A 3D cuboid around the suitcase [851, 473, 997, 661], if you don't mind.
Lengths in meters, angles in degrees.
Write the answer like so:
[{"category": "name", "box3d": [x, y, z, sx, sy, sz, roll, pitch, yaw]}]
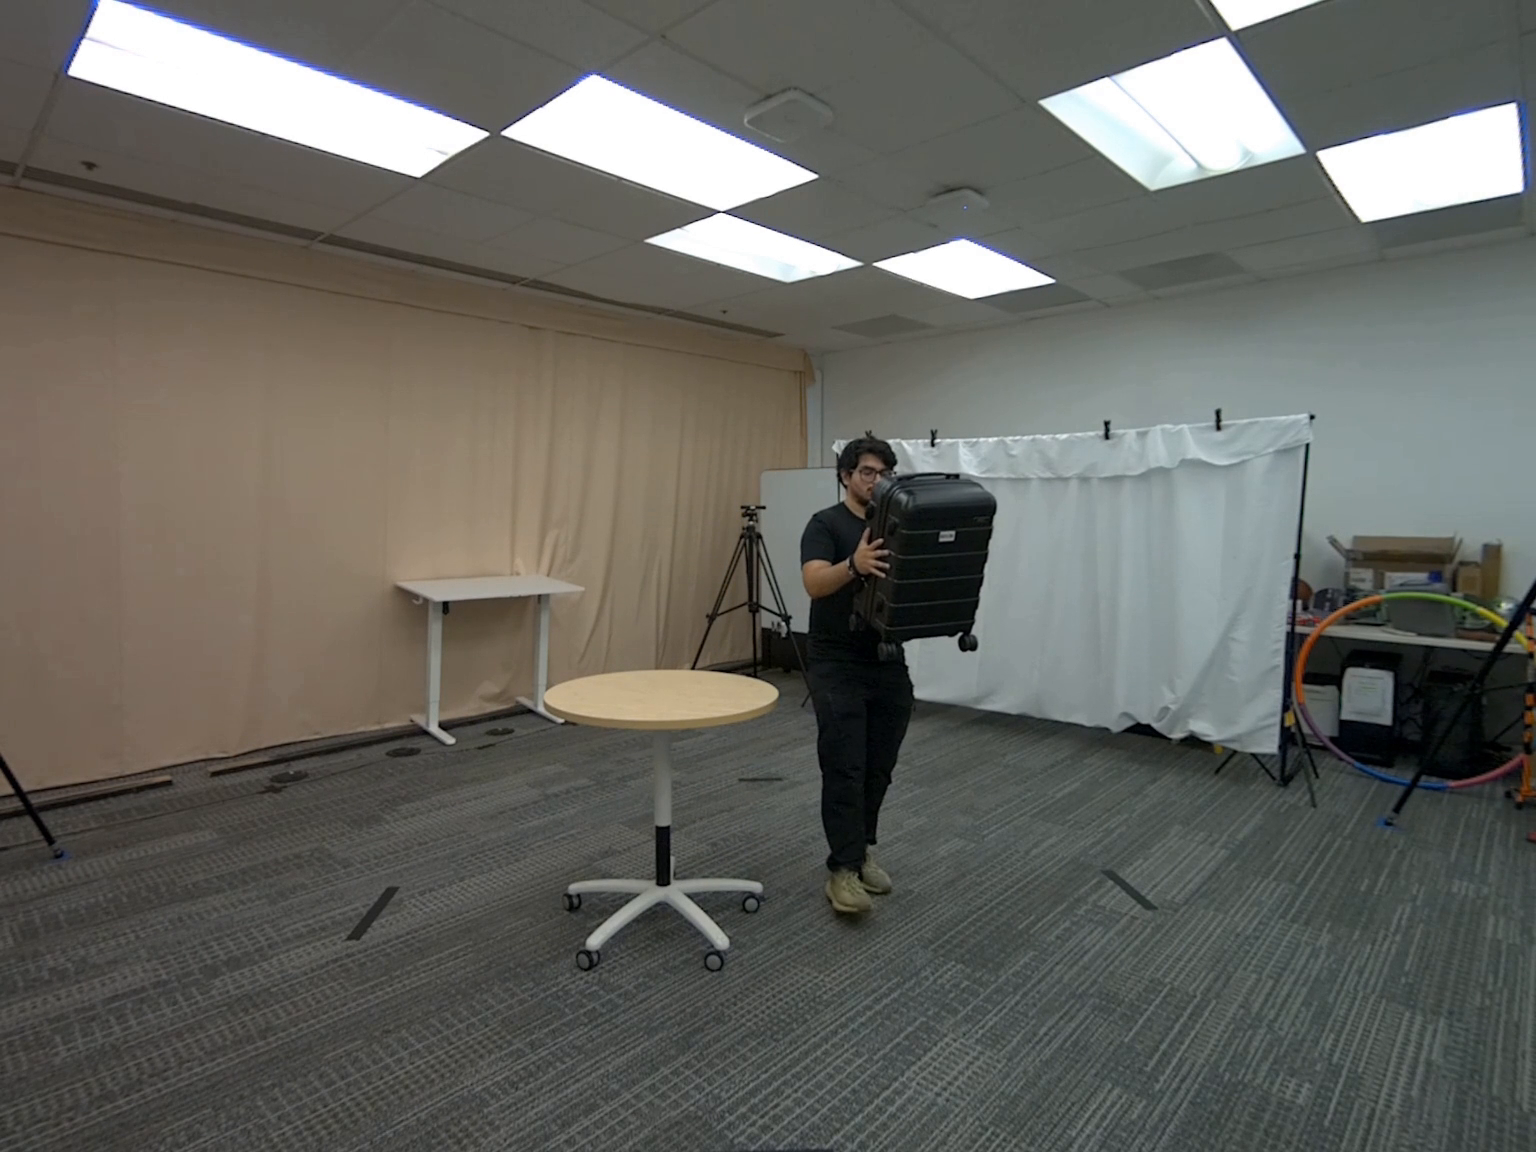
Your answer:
[{"category": "suitcase", "box3d": [0.495, -0.048, 2.685, 0.368, 0.543, 0.256, -3, 23, -20]}]
